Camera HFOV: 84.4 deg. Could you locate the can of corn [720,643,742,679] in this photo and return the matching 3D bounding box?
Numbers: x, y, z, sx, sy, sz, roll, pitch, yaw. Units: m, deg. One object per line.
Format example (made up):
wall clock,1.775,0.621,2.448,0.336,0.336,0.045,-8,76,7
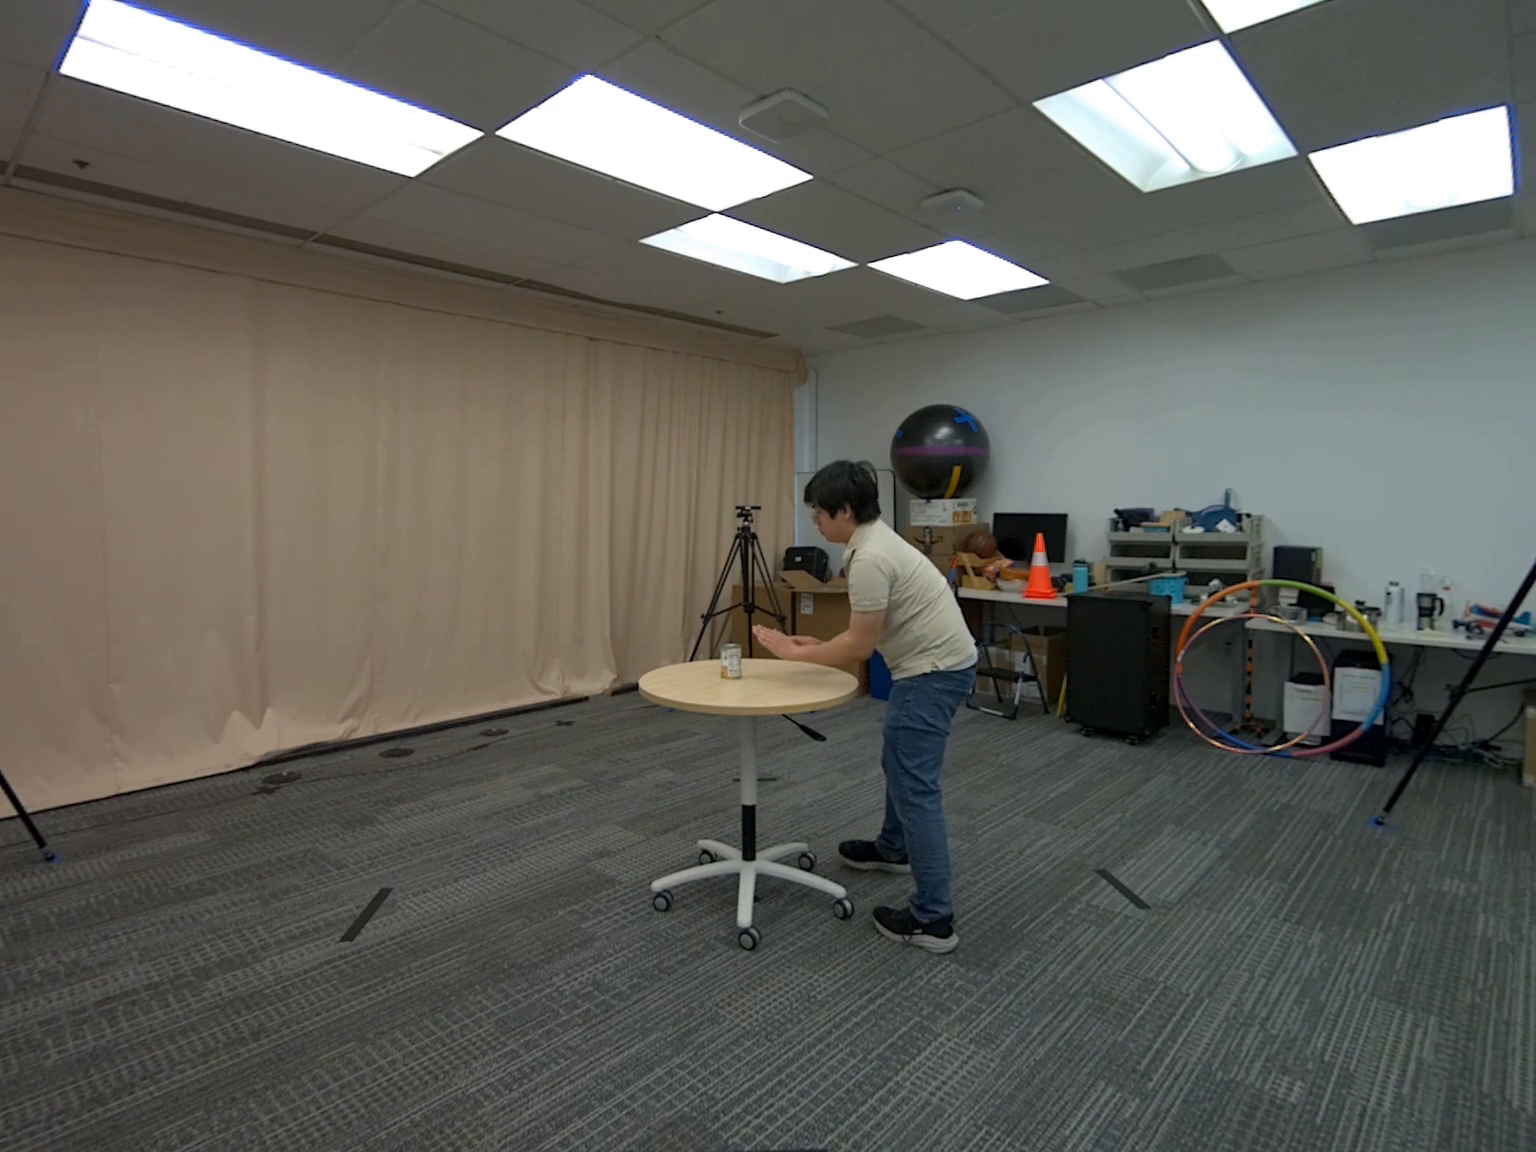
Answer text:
can of corn,-0.123,0.307,2.996,0.074,0.111,0.074,0,4,-2
